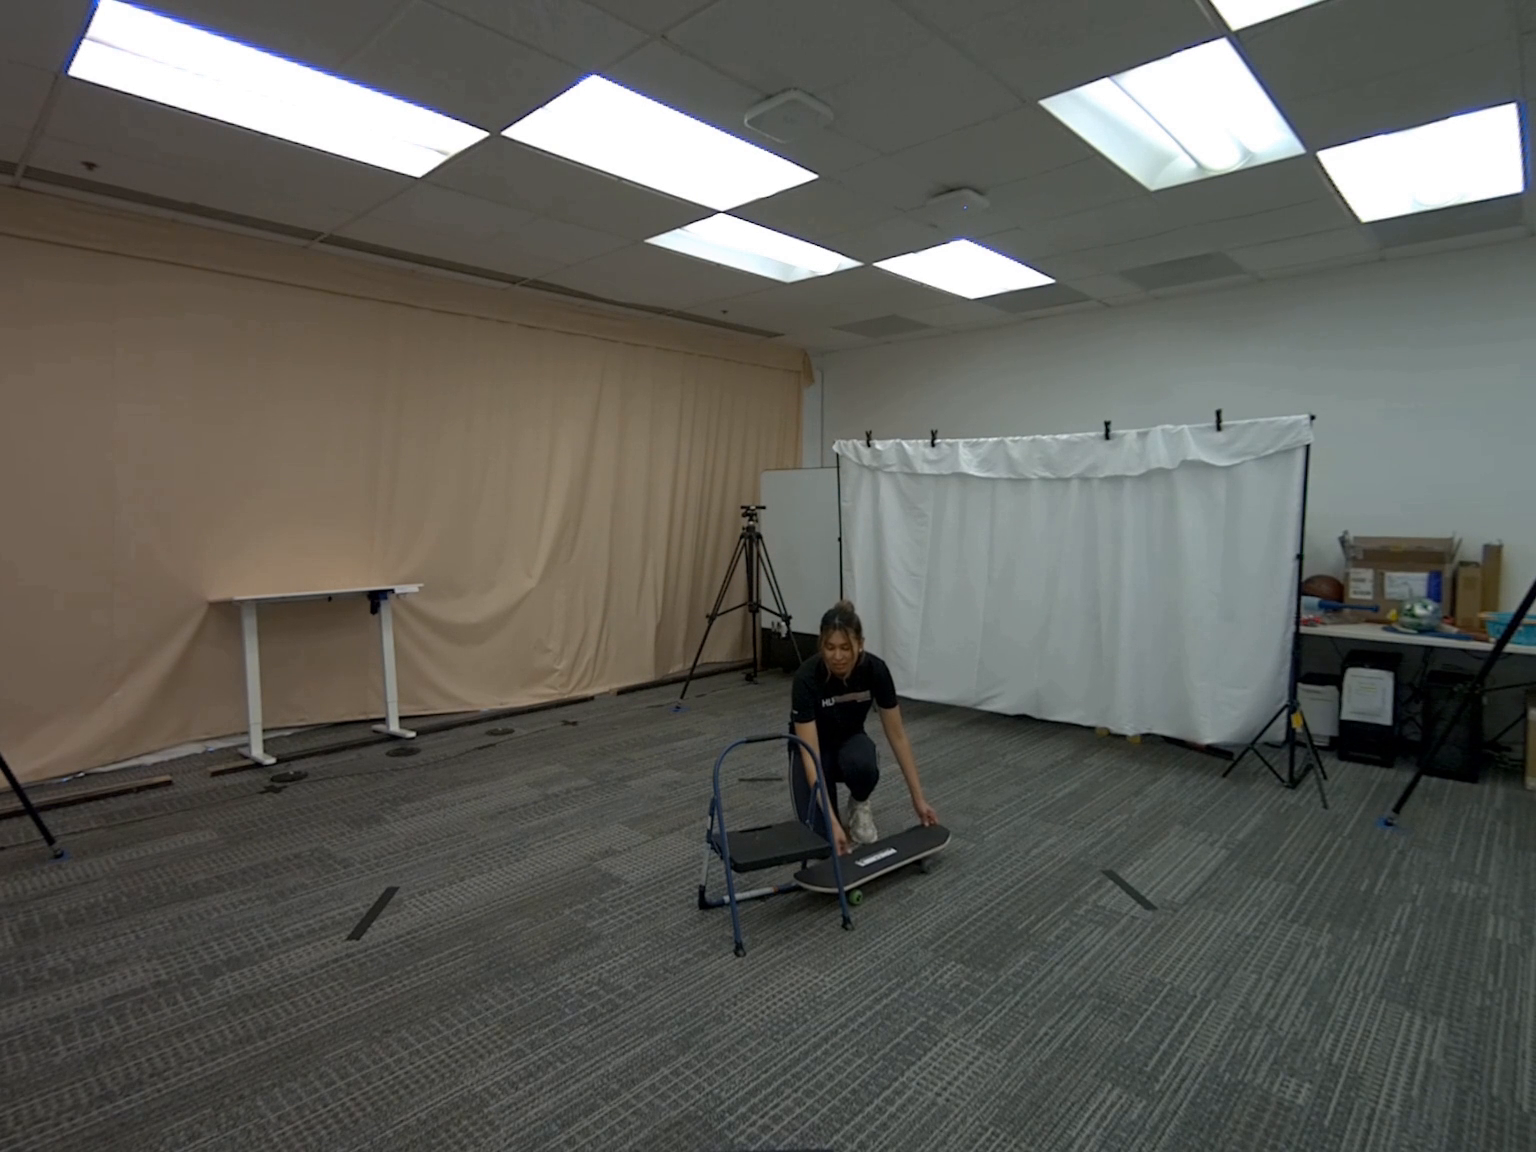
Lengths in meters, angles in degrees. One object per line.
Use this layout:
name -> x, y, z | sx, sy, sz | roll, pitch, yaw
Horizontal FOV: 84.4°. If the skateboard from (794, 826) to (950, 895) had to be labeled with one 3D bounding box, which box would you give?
skateboard -> 0.391, 1.063, 3.111 | 0.762, 0.110, 0.200 | -6, 8, -42
